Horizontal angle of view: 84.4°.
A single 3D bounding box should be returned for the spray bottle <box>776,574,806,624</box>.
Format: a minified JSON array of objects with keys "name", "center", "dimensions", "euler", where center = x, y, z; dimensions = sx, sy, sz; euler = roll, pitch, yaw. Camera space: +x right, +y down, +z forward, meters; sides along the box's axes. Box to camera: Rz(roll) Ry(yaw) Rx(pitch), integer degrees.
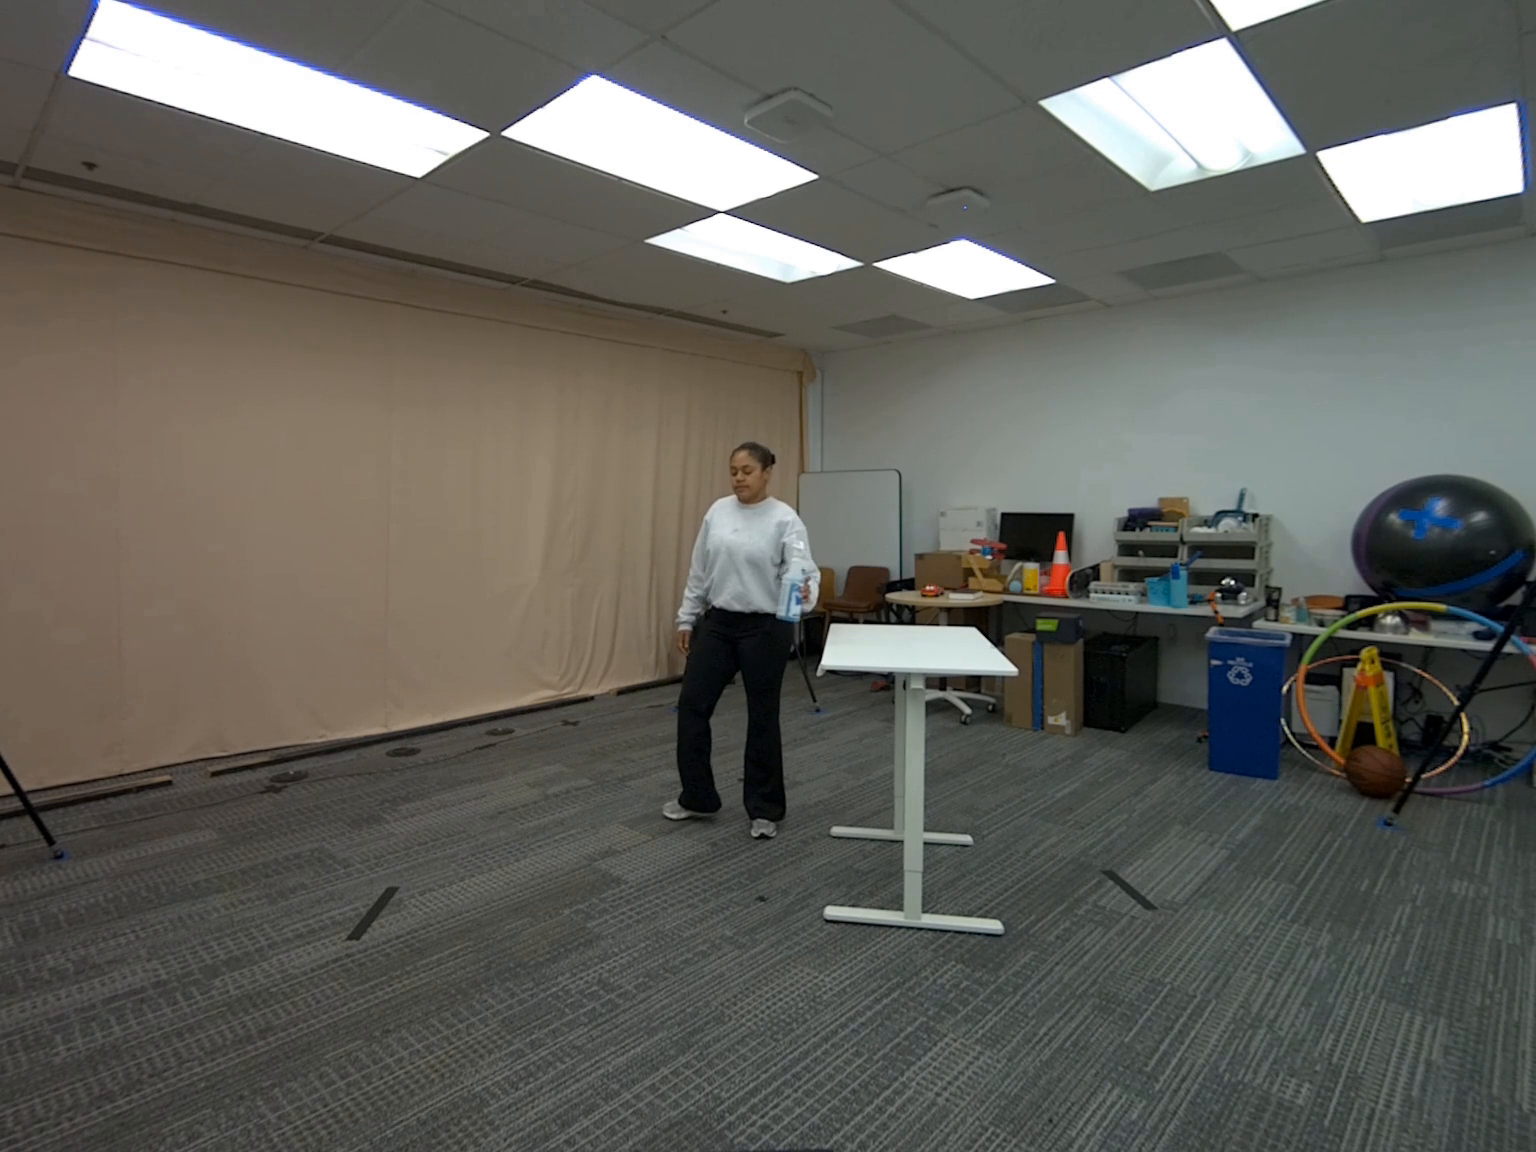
[{"name":"spray bottle","center":[0.089,0.022,3.128],"dimensions":[0.088,0.297,0.089],"euler":[9,-1,9]}]
